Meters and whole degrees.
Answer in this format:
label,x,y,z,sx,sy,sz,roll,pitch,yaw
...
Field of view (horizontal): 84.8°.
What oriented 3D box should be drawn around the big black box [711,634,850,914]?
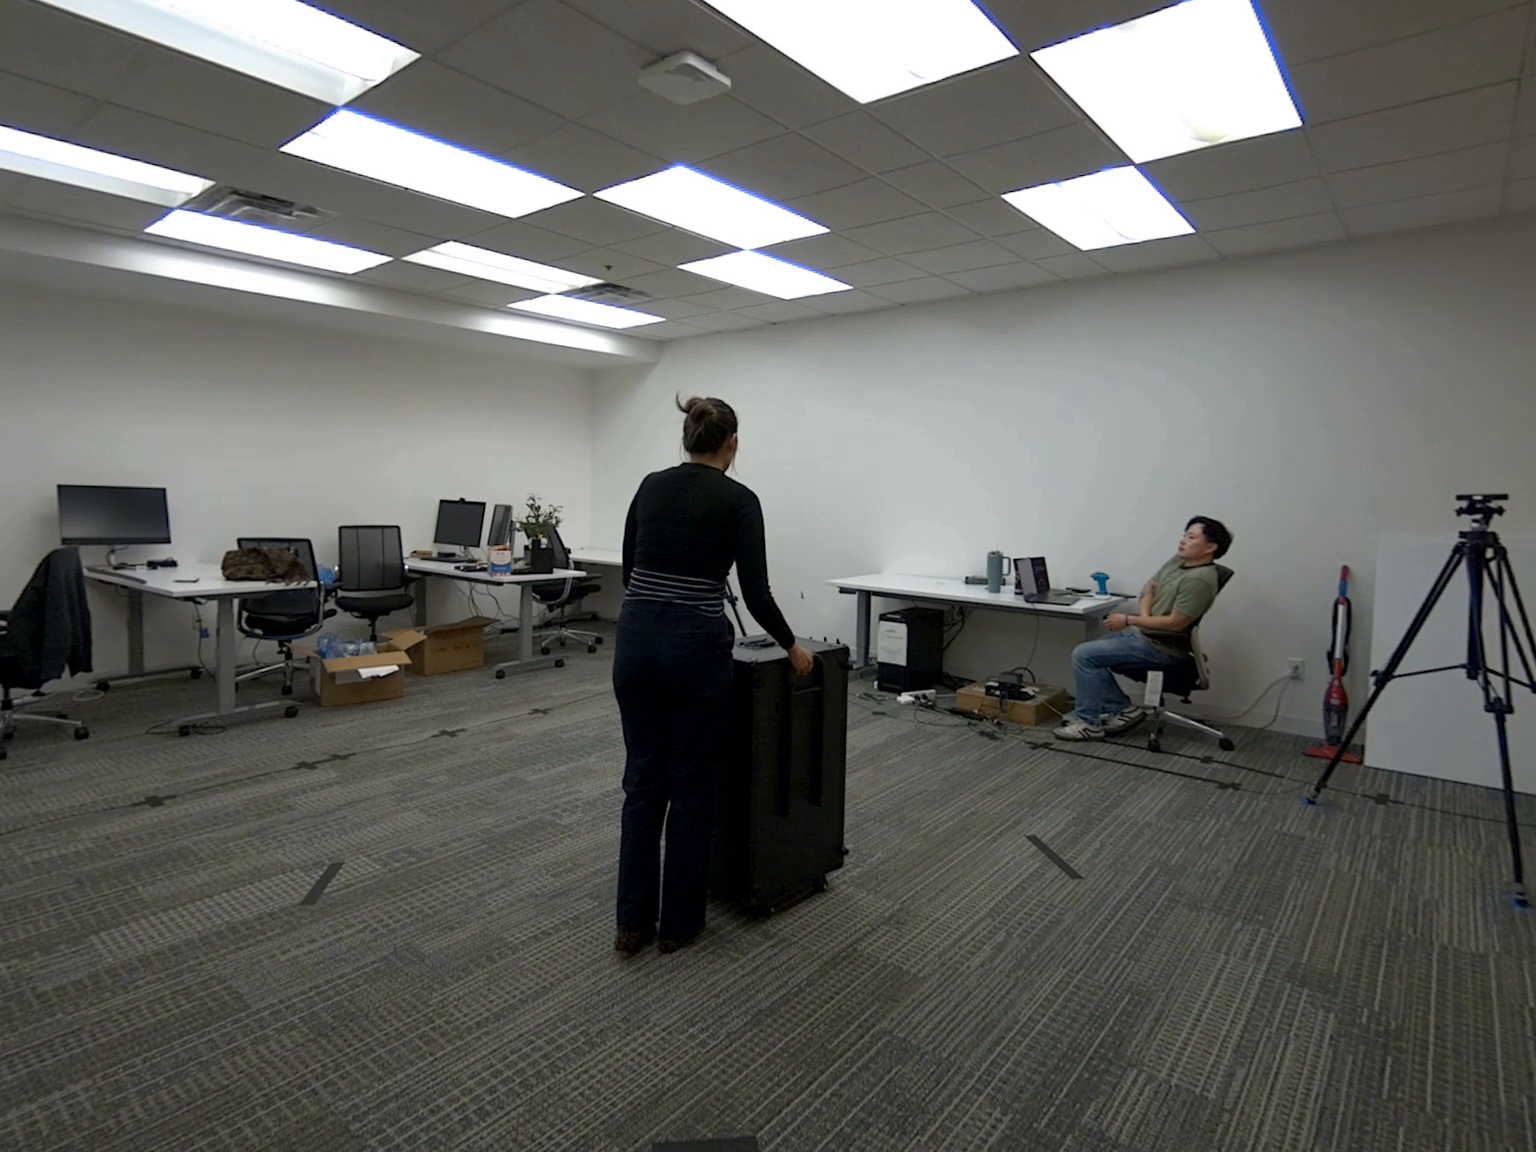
label,x,y,z,sx,sy,sz,roll,pitch,yaw
big black box,-0.016,0.607,2.936,0.410,0.859,0.505,5,5,43
